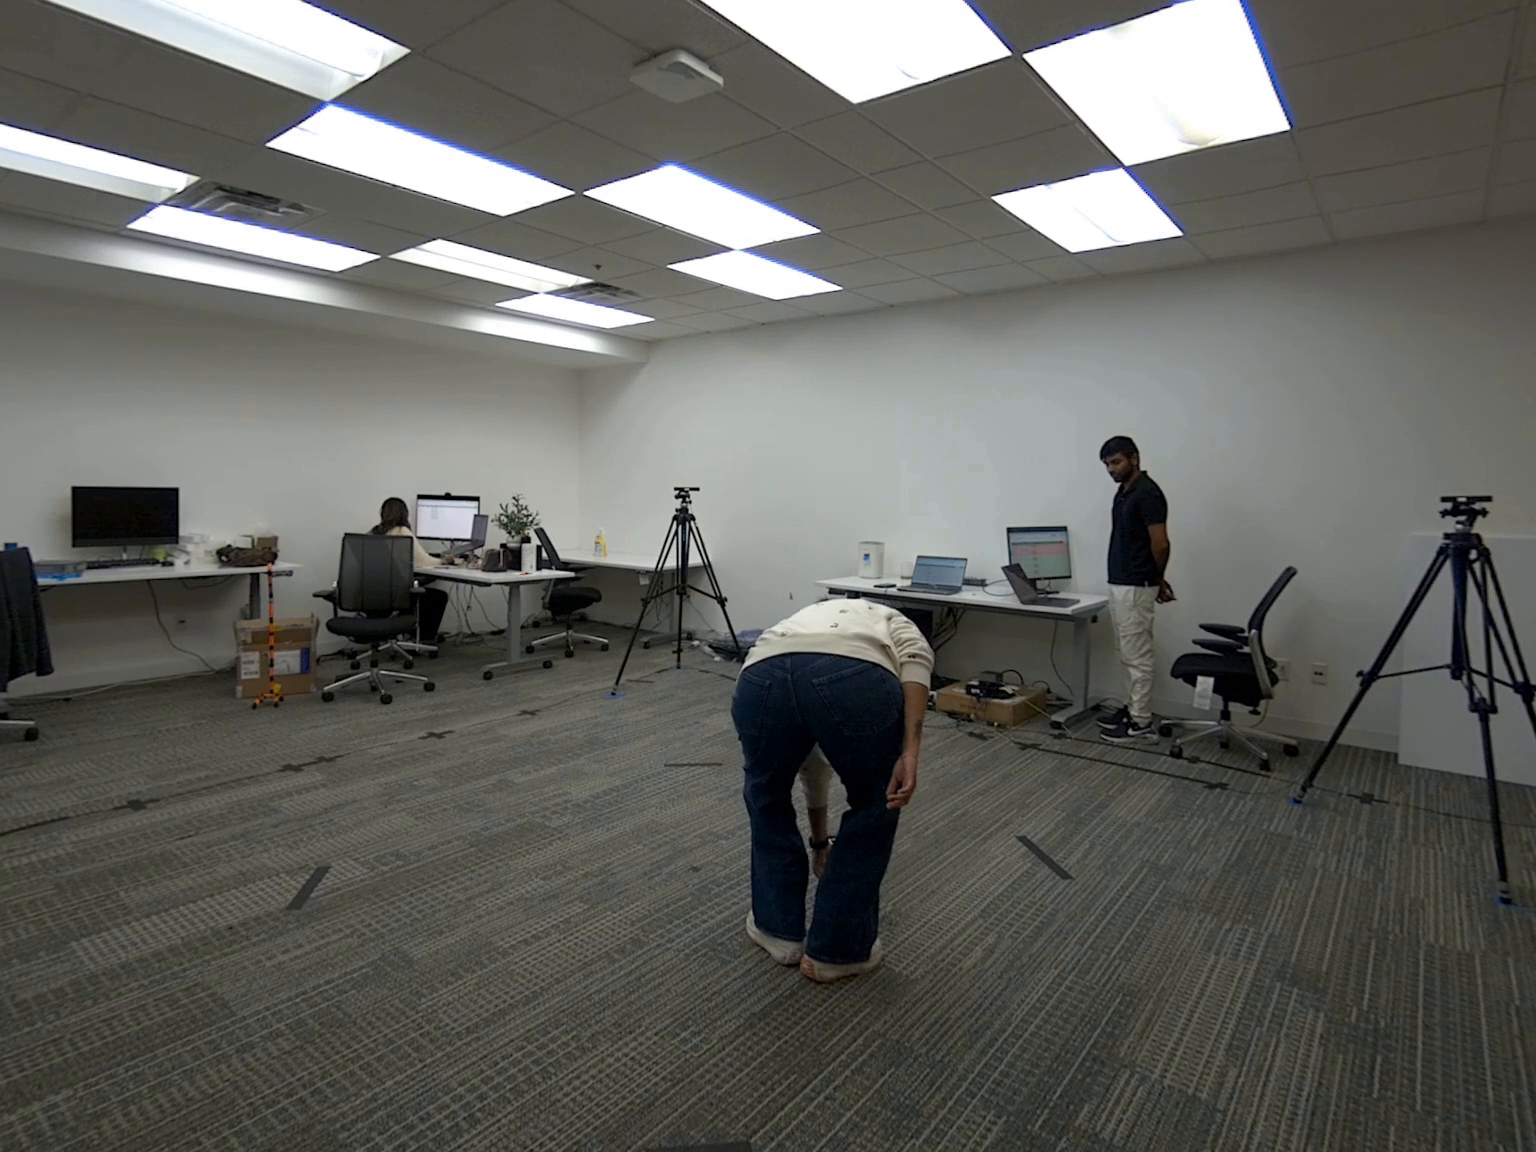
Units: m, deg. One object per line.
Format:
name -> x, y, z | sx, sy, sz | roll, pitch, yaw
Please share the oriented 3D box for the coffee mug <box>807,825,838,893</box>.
coffee mug -> 0.208, 0.990, 2.898 | 0.085, 0.201, 0.126 | -5, 9, -36
